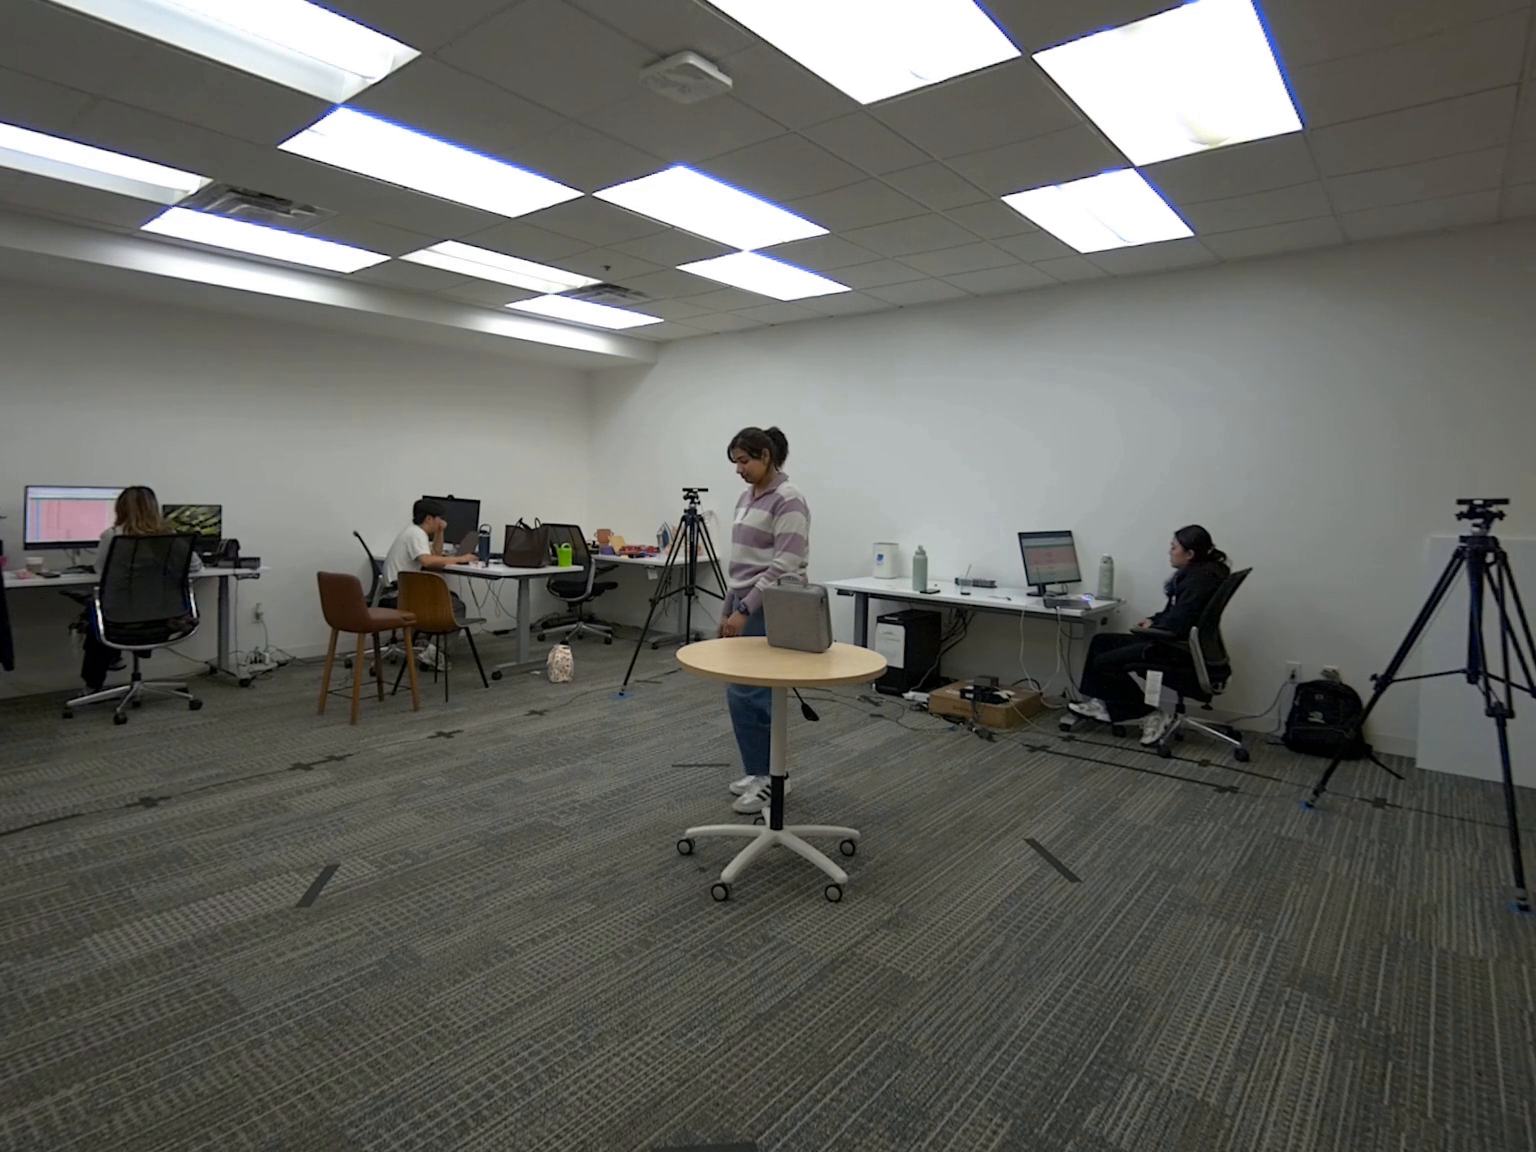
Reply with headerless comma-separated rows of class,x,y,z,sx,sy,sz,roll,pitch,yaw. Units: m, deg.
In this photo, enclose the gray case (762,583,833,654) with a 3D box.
gray case,0.103,0.145,3.236,0.265,0.257,0.102,4,17,36
